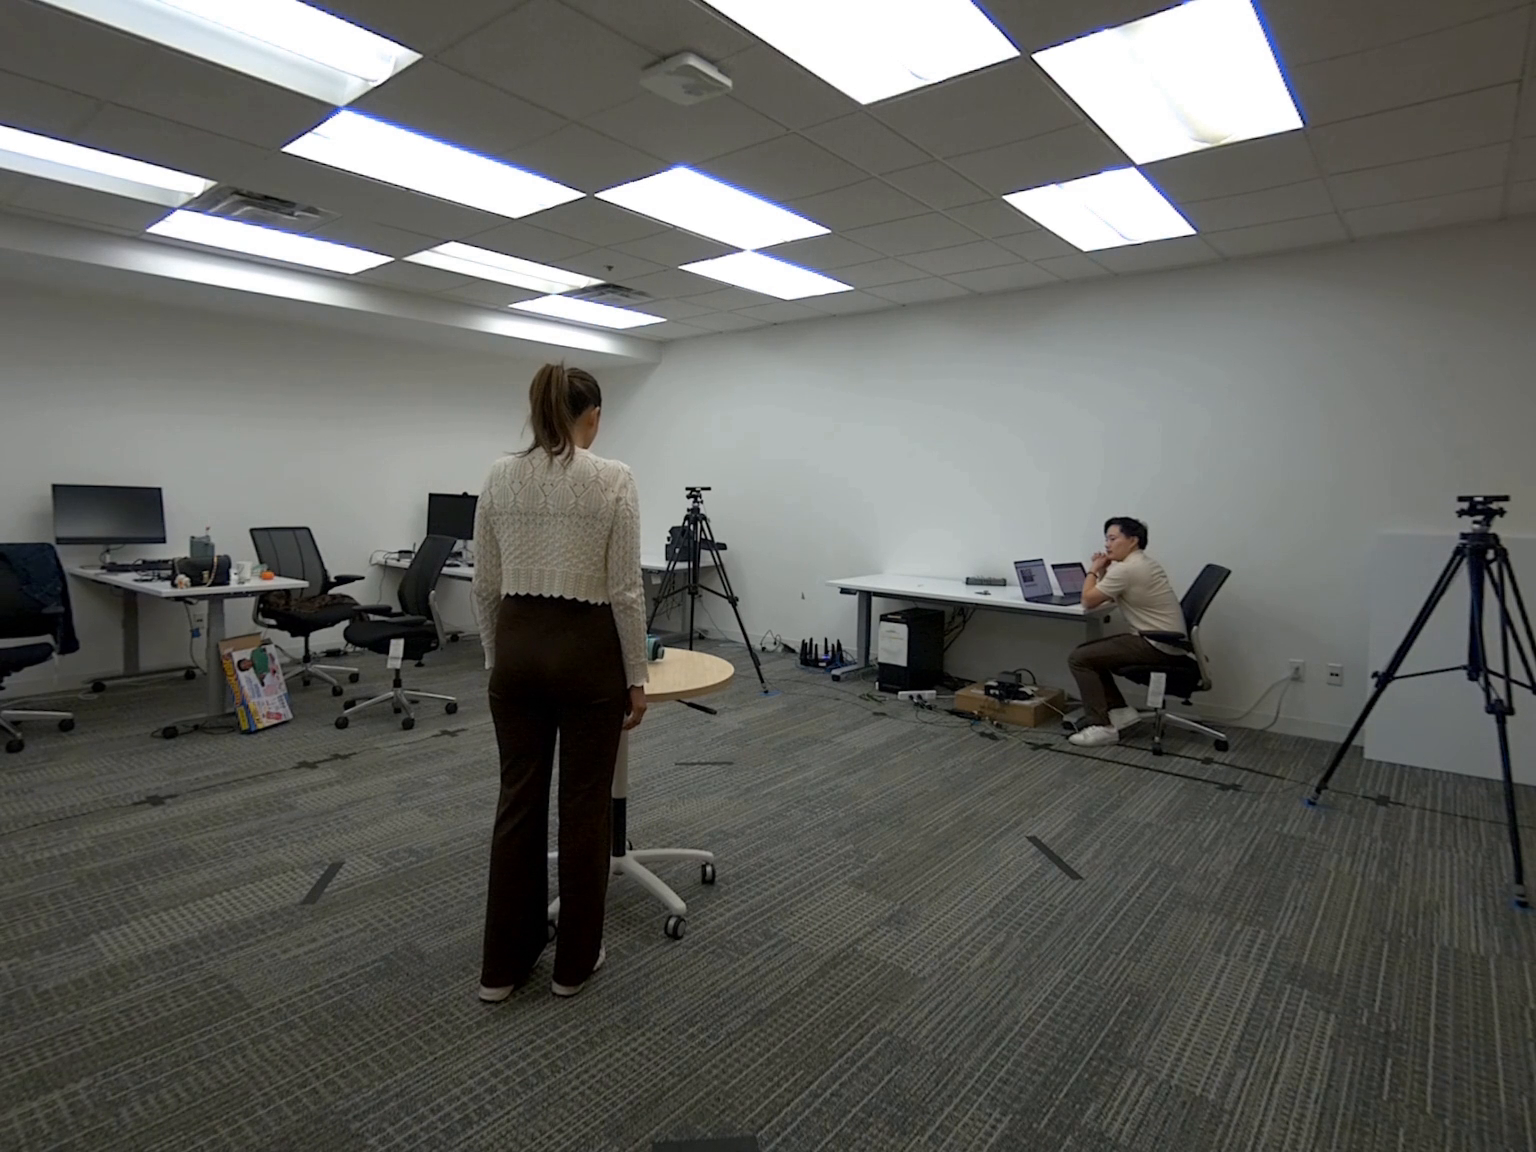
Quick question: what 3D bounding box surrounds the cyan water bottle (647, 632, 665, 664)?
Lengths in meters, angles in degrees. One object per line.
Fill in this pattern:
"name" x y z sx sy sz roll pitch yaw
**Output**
"cyan water bottle" -0.513 0.247 2.957 0.285 0.092 0.092 1 4 6
